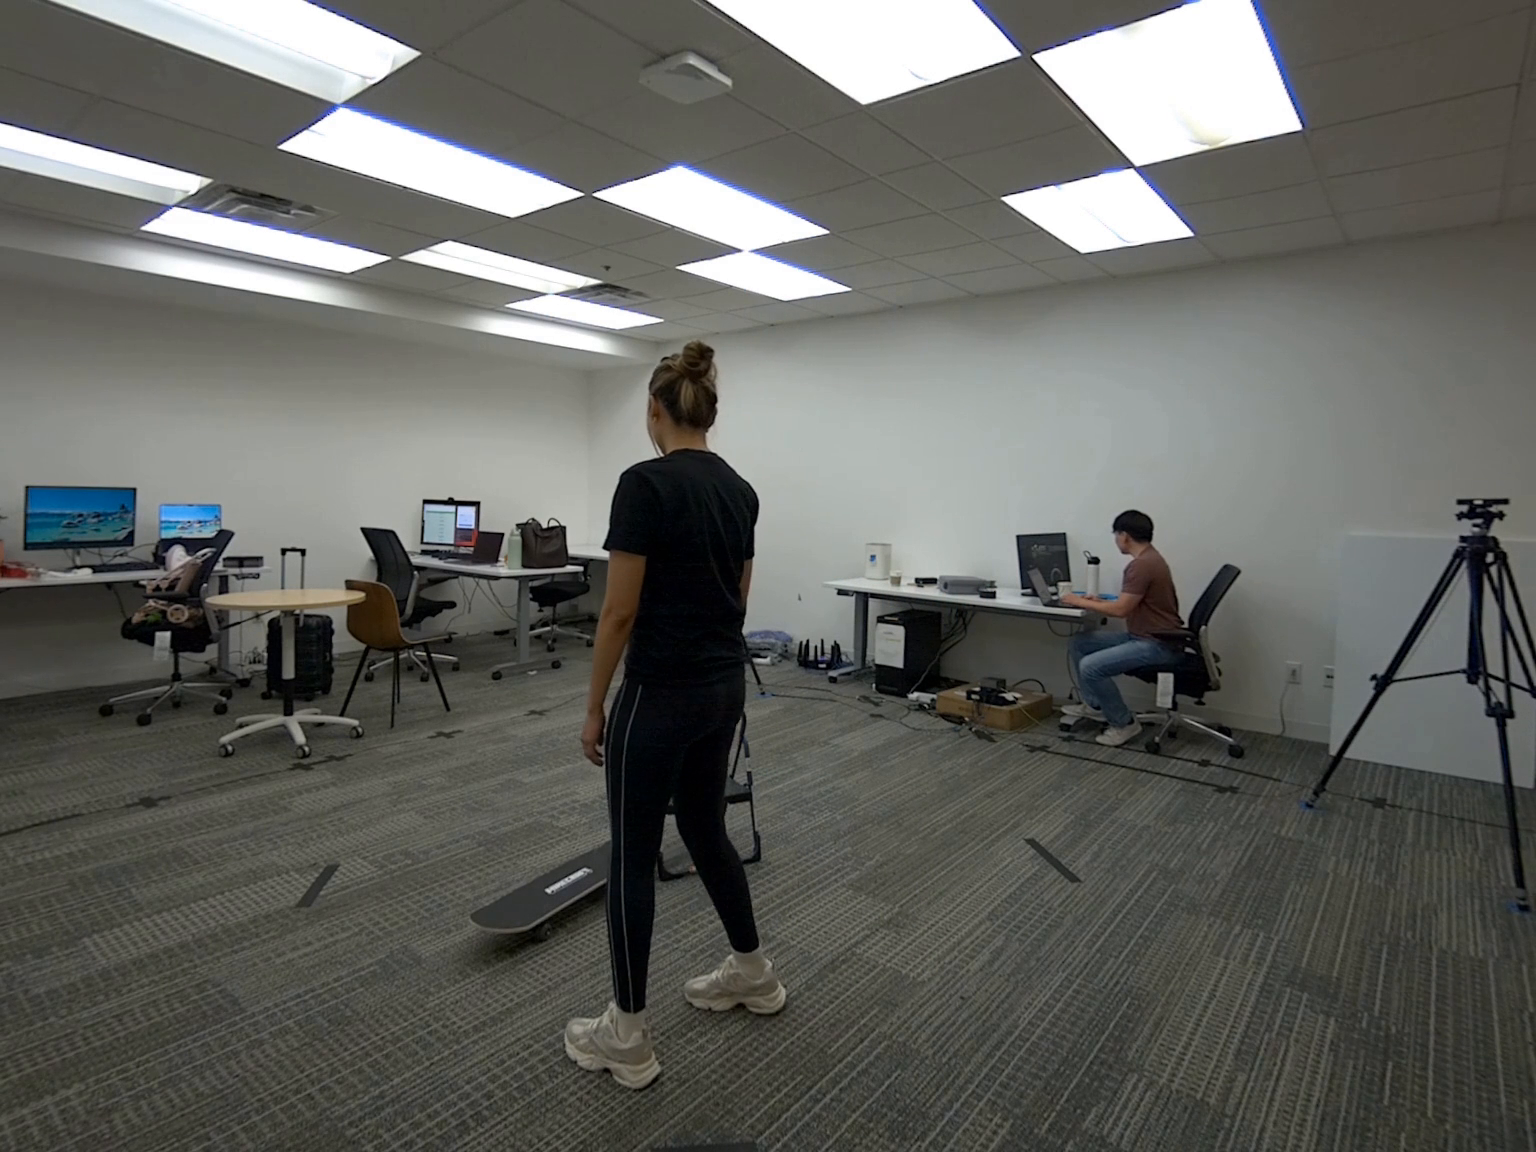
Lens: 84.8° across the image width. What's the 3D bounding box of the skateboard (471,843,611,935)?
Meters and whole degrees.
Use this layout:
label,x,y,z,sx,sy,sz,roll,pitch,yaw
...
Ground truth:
label,x,y,z,sx,sy,sz,roll,pitch,yaw
skateboard,-0.666,1.033,2.811,0.199,0.110,0.766,5,7,29
